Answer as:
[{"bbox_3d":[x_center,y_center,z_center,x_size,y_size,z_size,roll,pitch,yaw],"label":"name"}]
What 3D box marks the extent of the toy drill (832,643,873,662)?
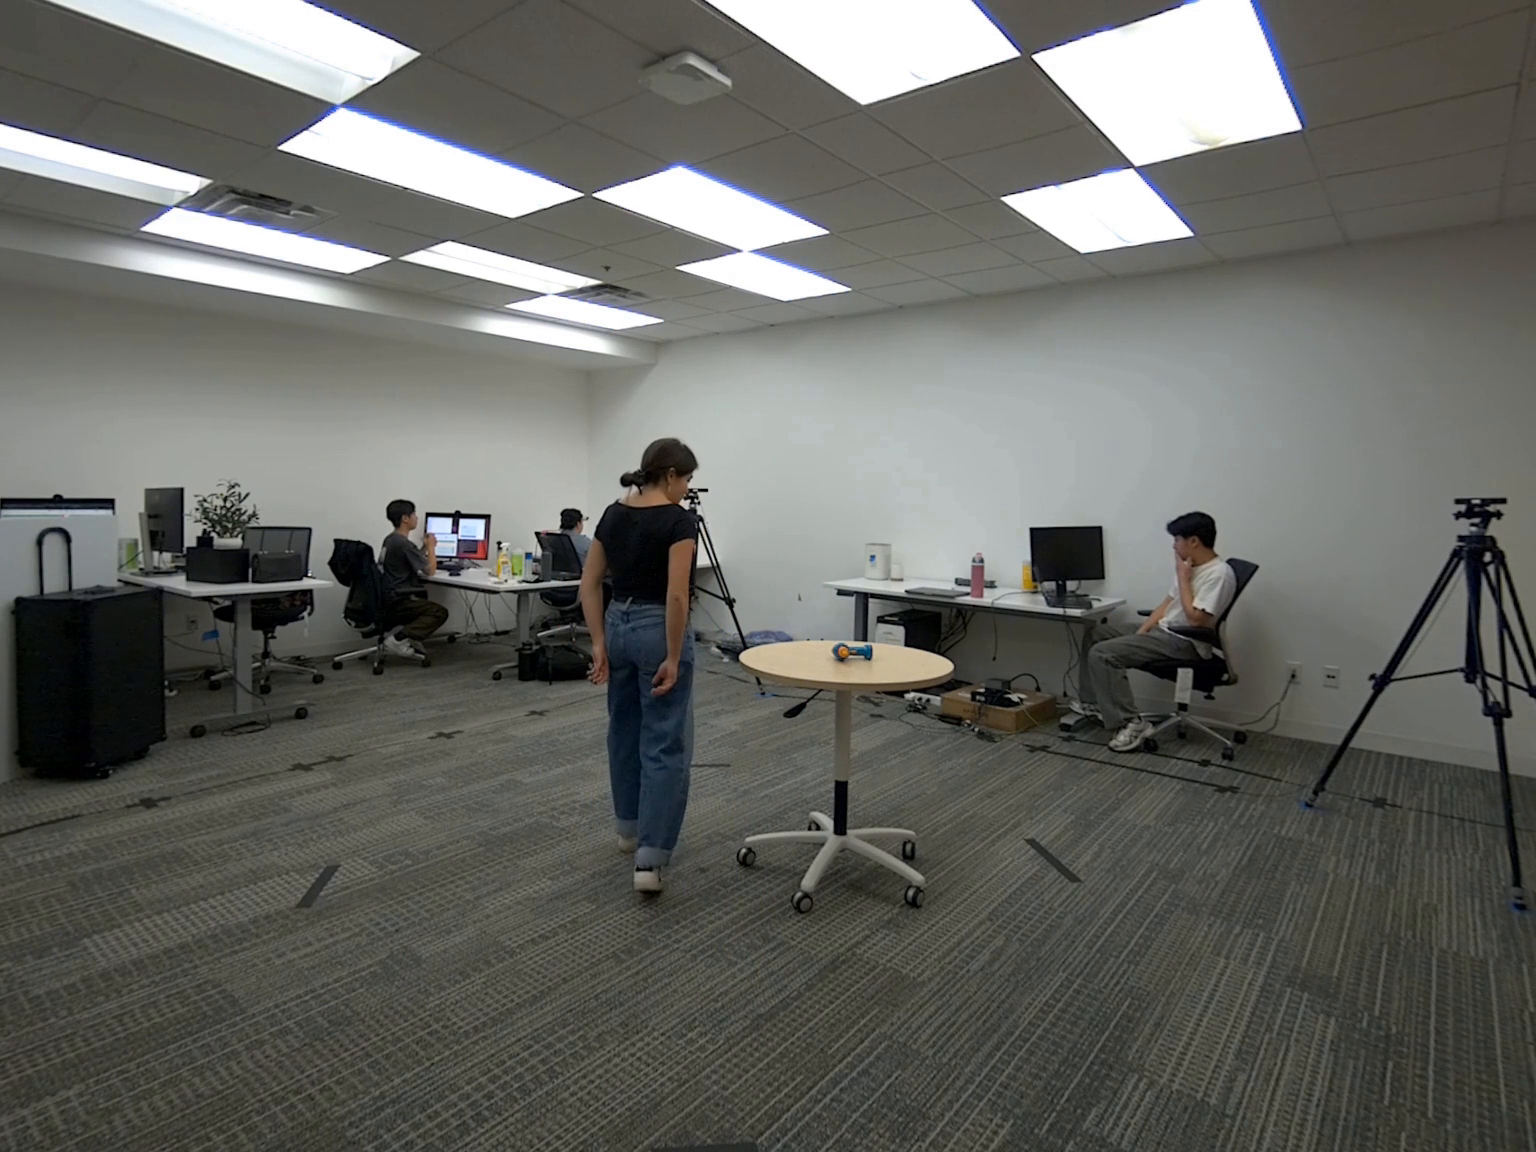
[{"bbox_3d":[0.308,0.268,3.054,0.146,0.061,0.169,2,-3,-3],"label":"toy drill"}]
